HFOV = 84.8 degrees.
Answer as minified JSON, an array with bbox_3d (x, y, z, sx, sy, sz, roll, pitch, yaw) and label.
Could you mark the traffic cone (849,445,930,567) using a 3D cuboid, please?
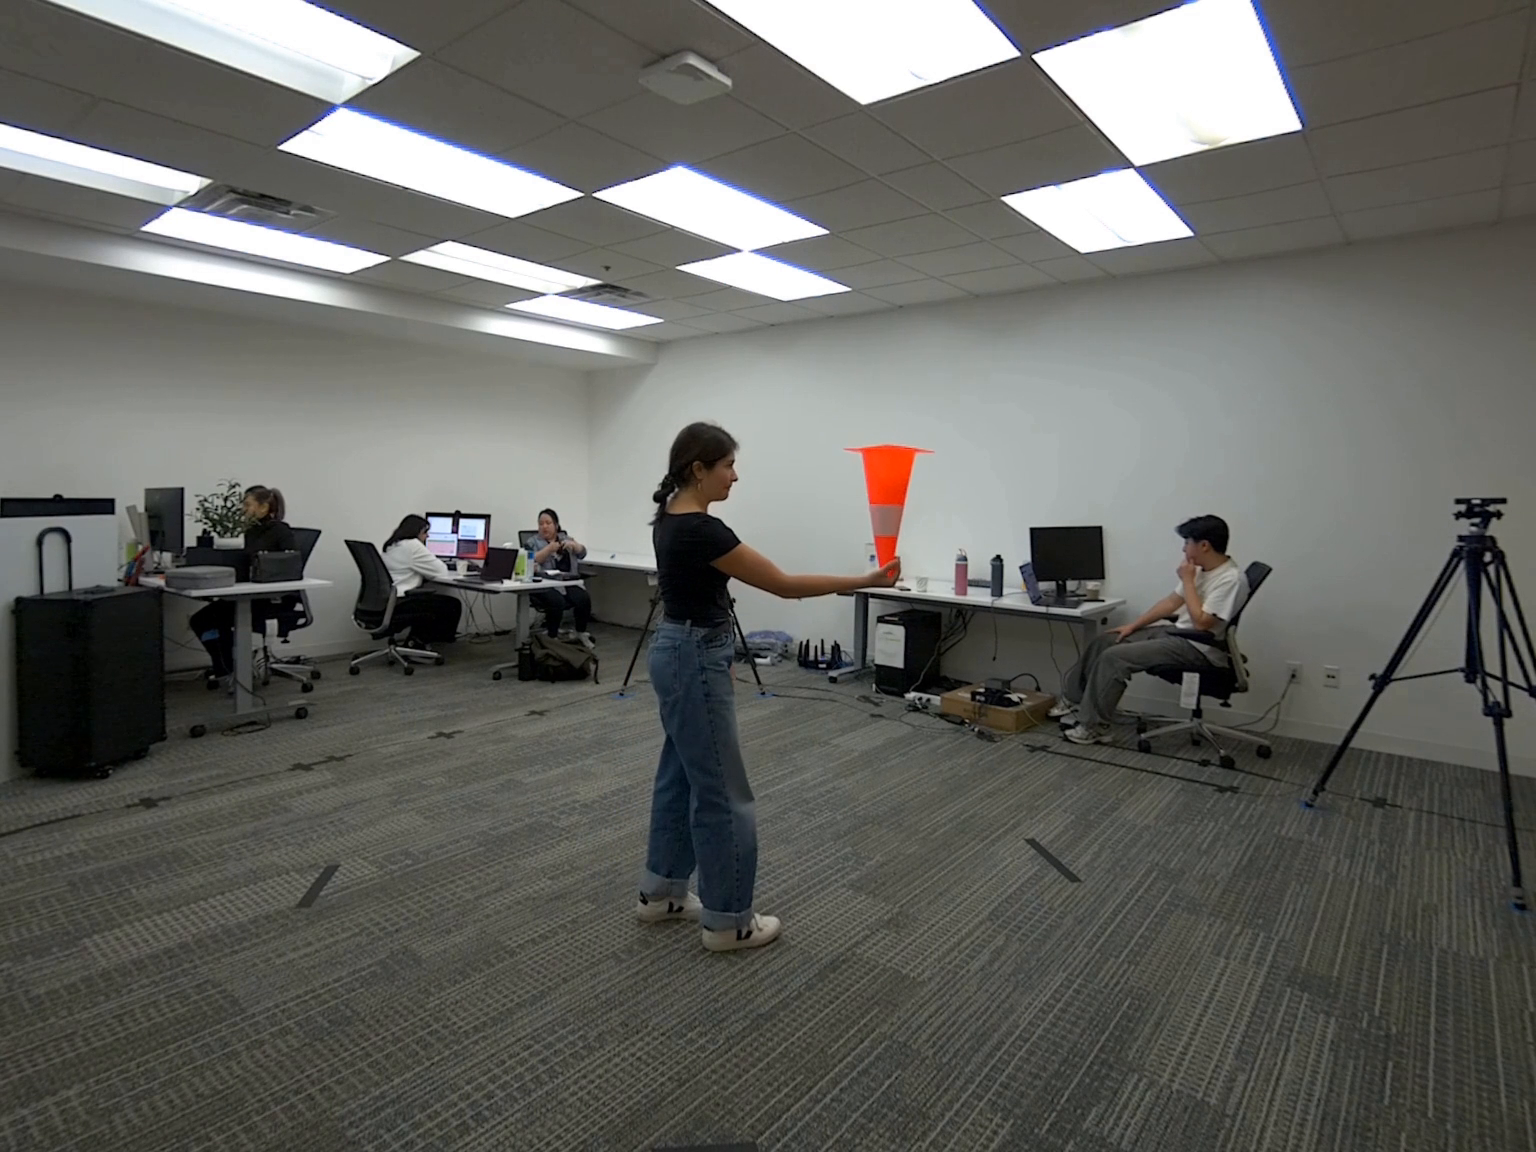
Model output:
[{"bbox_3d":[0.350,-0.189,2.528,0.199,0.383,0.210,2,1,-23],"label":"traffic cone"}]
